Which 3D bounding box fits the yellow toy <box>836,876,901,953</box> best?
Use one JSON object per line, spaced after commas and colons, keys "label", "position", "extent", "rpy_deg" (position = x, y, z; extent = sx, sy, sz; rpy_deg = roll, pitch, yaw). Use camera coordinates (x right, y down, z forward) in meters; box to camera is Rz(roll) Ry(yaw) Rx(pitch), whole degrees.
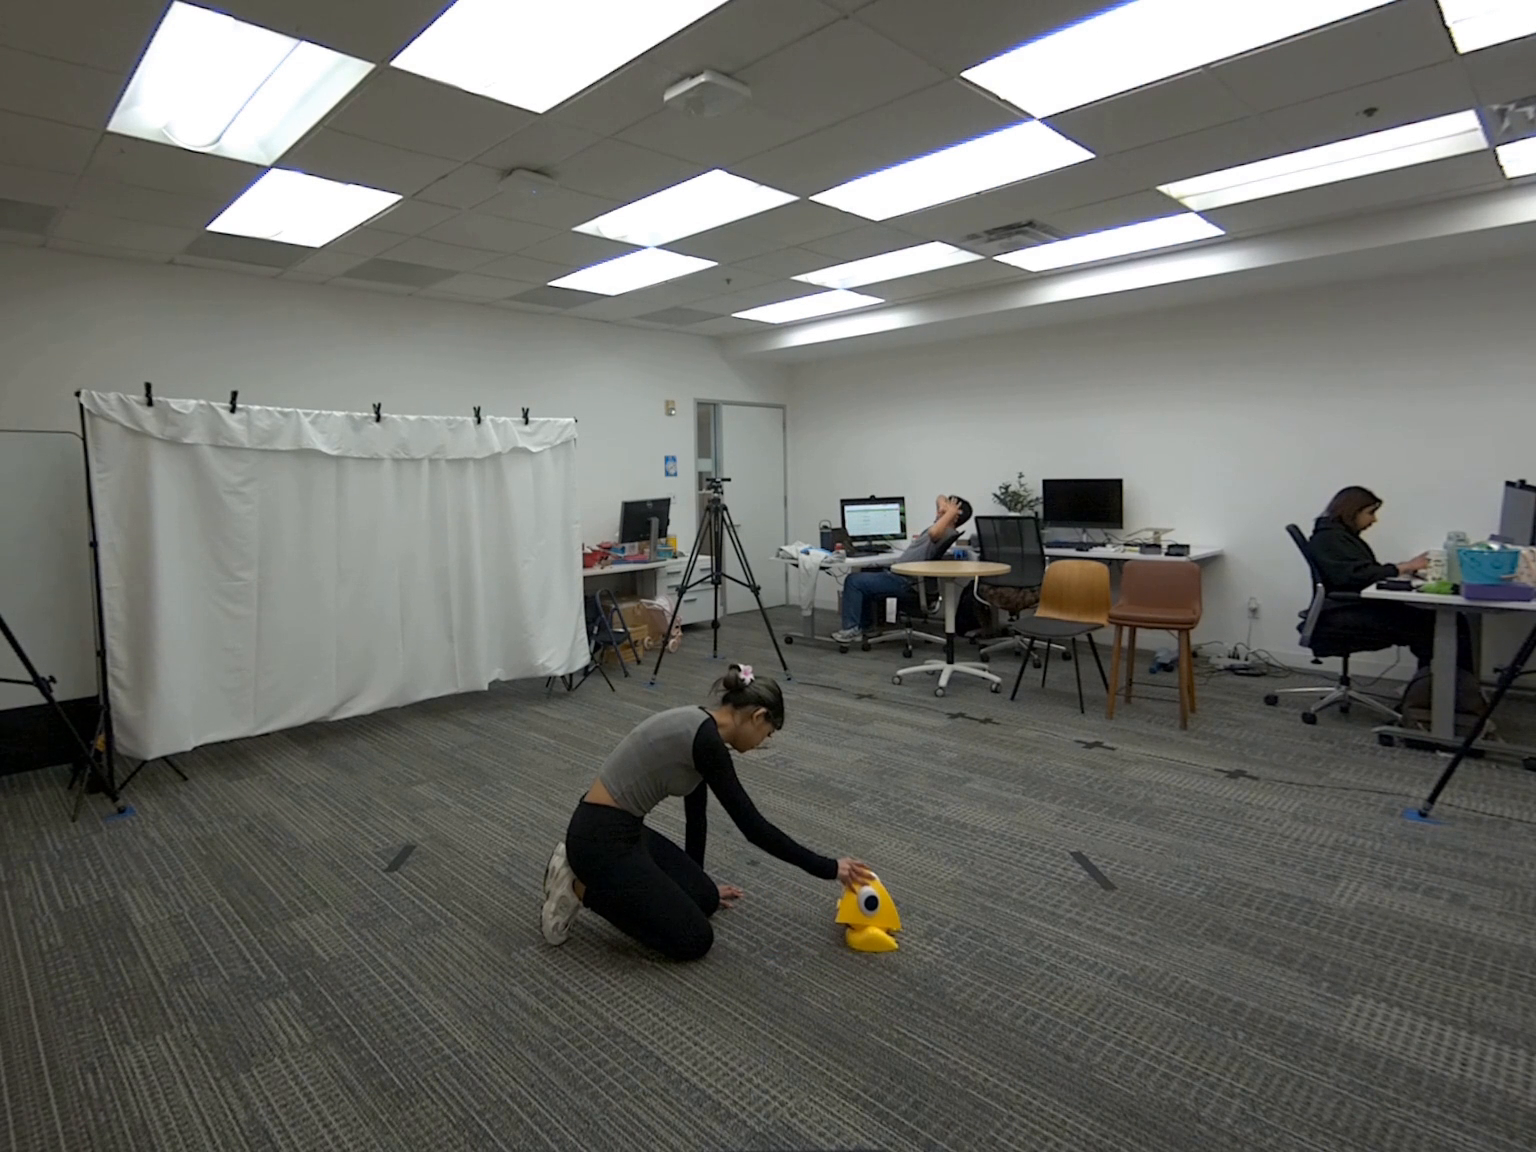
{"label": "yellow toy", "position": [0.319, 0.982, 2.603], "extent": [0.195, 0.230, 0.203], "rpy_deg": [-1, 3, 13]}
